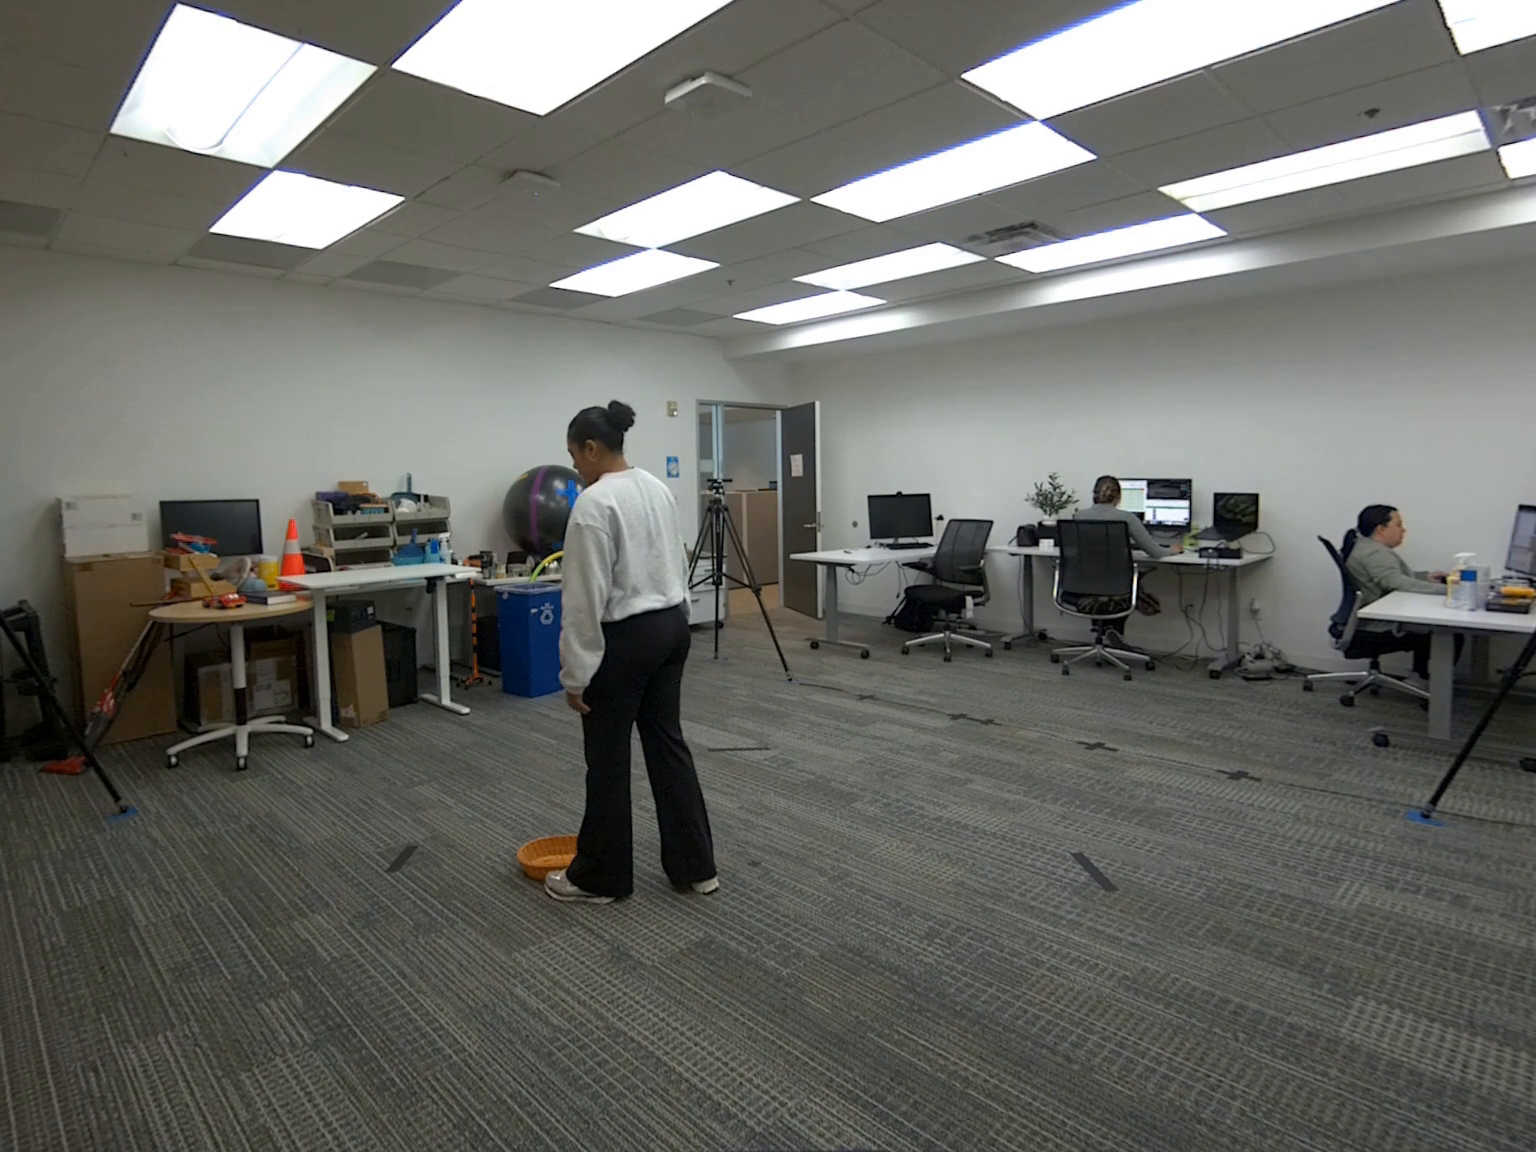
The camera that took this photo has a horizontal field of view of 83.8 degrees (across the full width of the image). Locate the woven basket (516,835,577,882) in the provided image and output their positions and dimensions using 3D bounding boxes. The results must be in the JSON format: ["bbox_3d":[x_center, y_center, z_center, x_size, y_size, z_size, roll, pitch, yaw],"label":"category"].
[{"bbox_3d":[-0.728,1.020,3.085,0.351,0.073,0.253,-1,7,0],"label":"woven basket"}]
